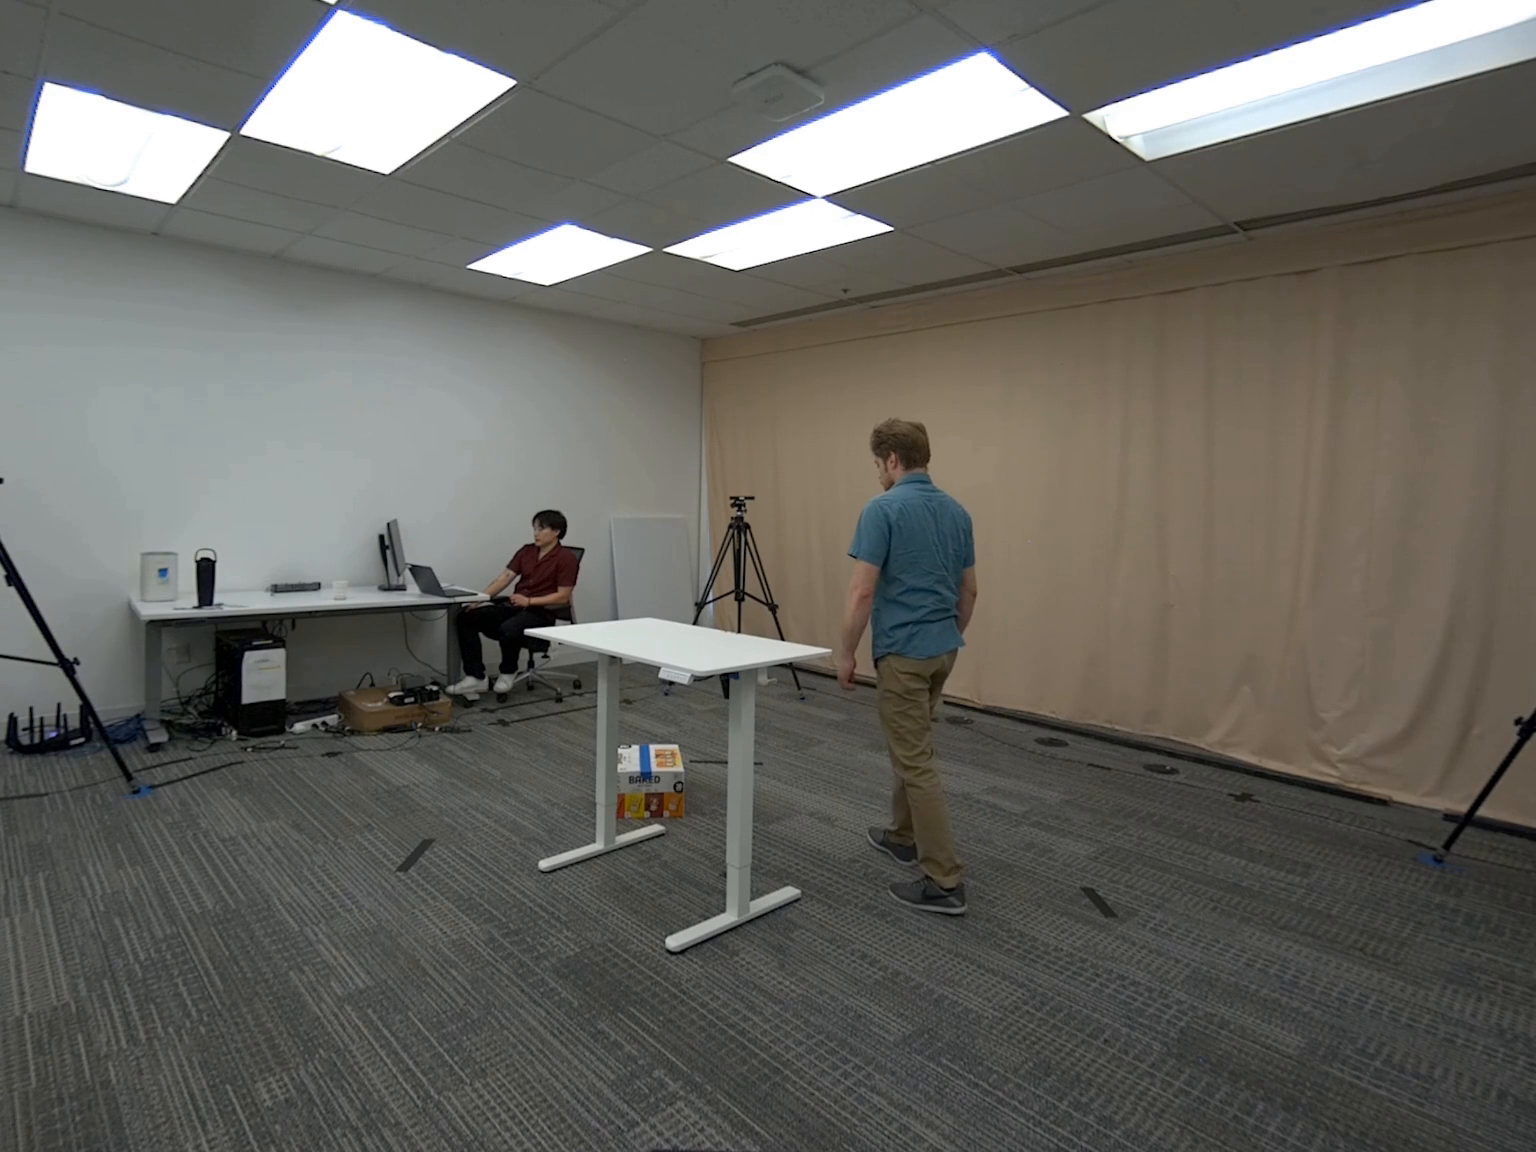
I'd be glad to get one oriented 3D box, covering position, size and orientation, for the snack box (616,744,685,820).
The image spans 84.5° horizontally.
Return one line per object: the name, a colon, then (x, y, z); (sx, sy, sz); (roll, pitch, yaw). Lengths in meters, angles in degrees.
snack box: (-0.577, 0.929, 3.835); (0.338, 0.205, 0.409); (1, 5, -9)
